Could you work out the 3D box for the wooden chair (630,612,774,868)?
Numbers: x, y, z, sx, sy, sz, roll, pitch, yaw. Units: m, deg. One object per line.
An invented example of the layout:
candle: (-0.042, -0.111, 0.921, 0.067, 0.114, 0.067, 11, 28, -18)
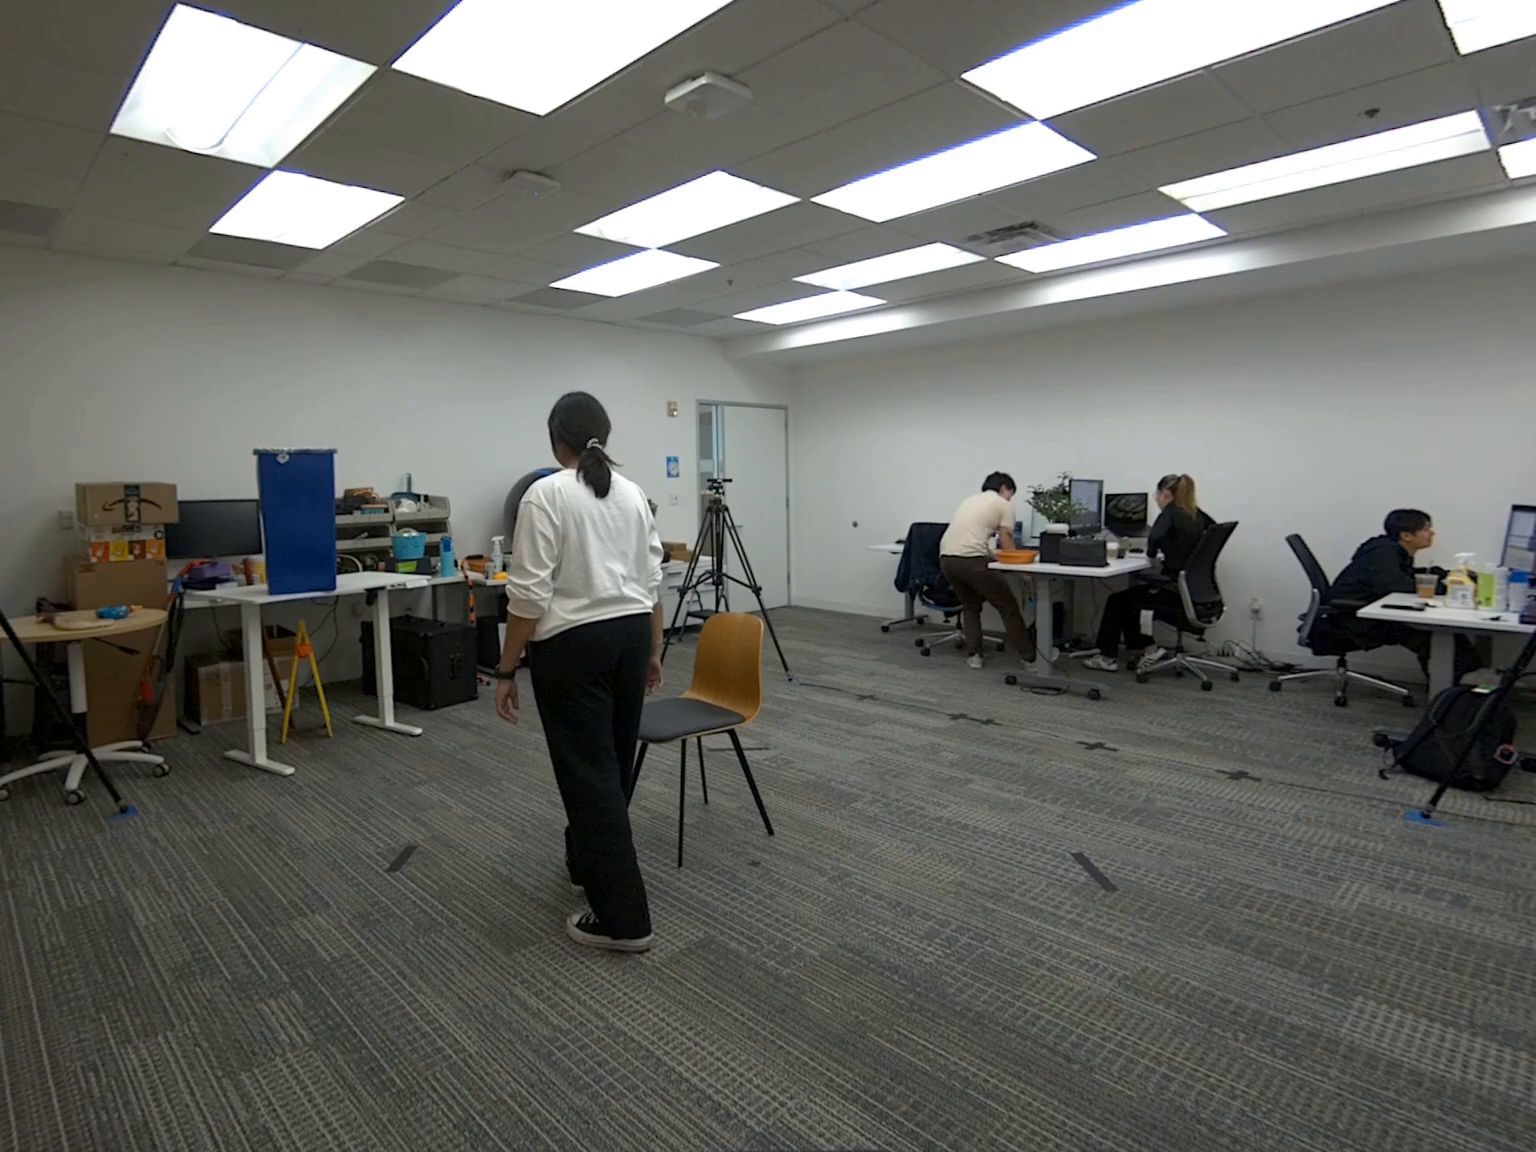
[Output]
wooden chair: (-0.303, 0.592, 3.358, 0.508, 0.877, 0.492, 2, 2, -39)
